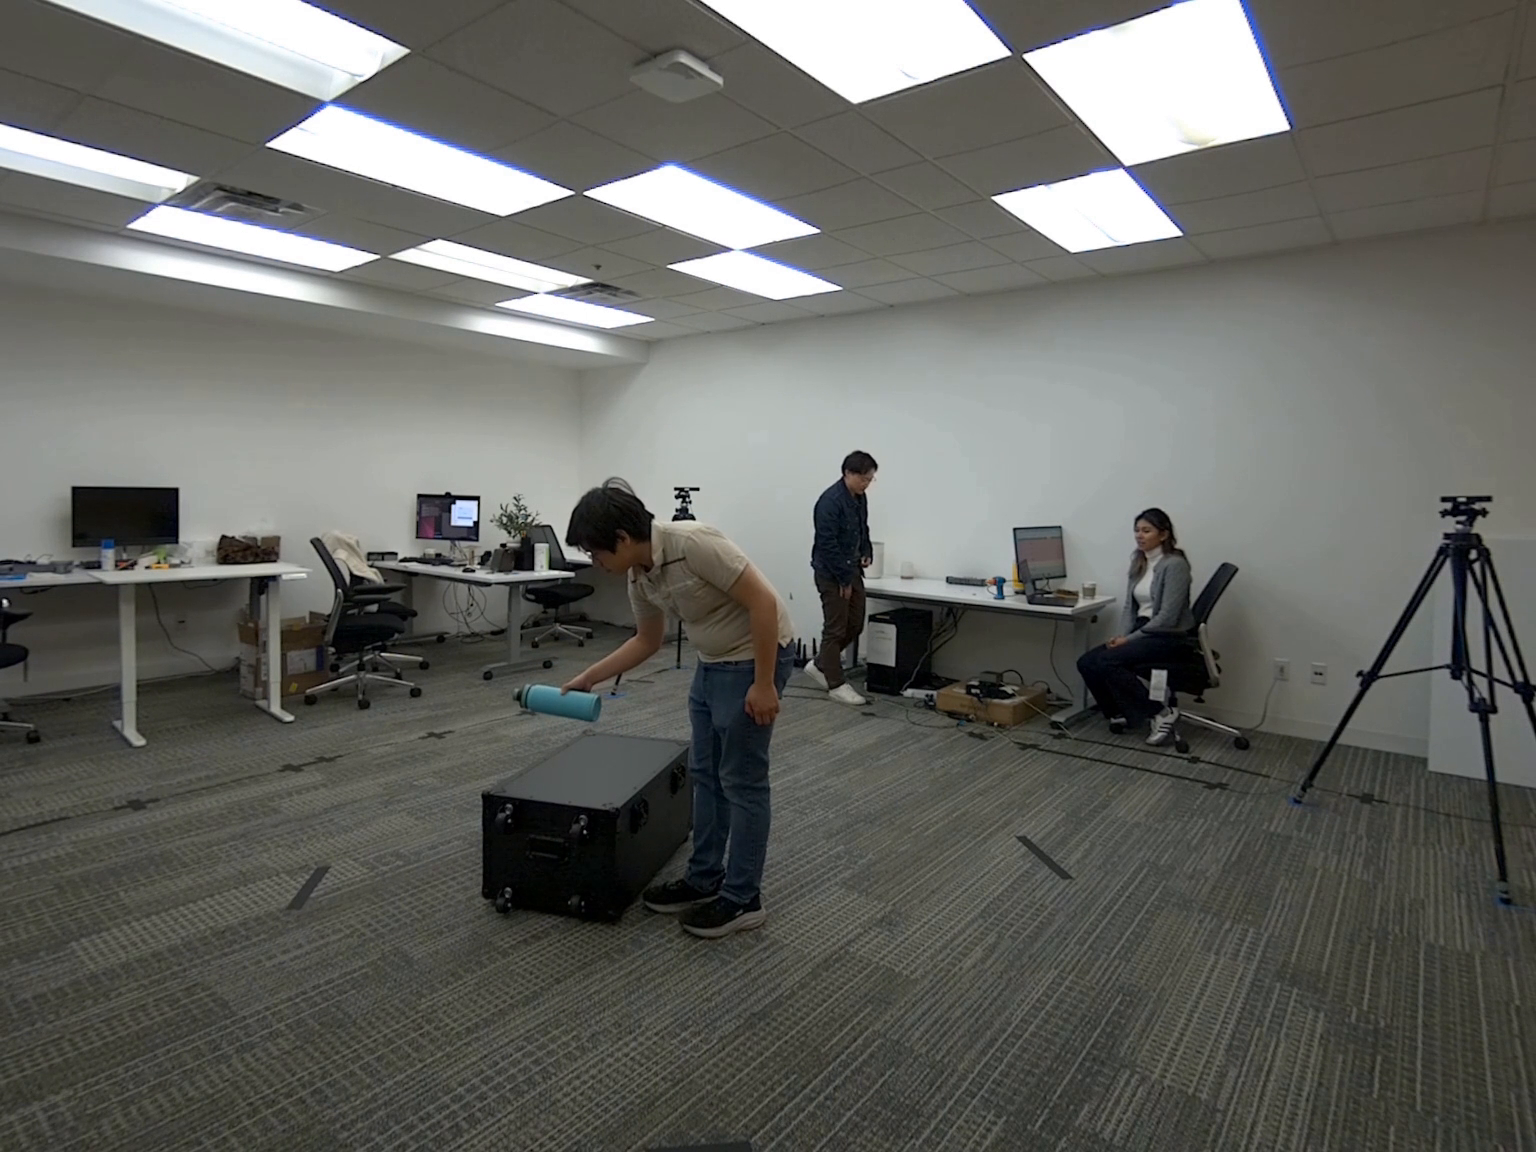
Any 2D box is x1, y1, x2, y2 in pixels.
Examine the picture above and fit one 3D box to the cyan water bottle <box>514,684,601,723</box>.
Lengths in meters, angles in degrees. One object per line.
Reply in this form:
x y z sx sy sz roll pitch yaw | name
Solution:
-0.709 0.410 2.793 0.286 0.092 0.092 7 5 8 | cyan water bottle
